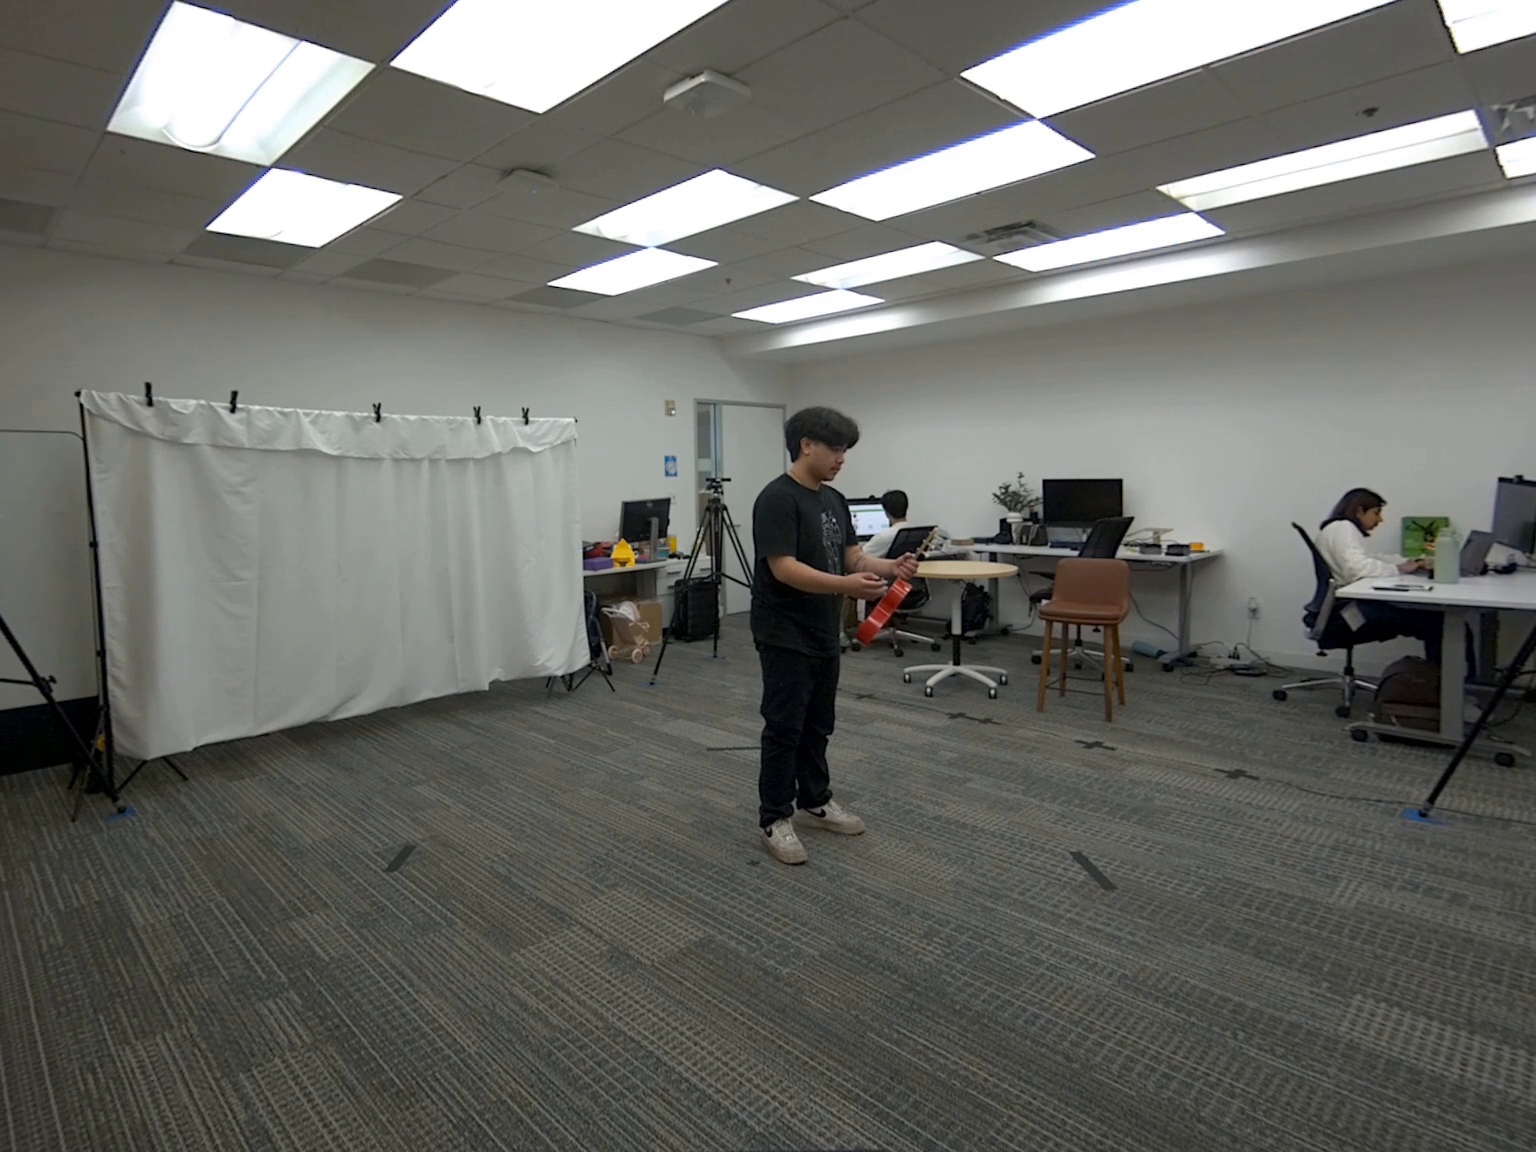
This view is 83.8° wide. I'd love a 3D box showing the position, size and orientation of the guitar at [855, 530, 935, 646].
[{"bbox_3d":[0.476,0.048,3.085,0.072,0.496,0.191,37,18,9],"label":"guitar"}]
